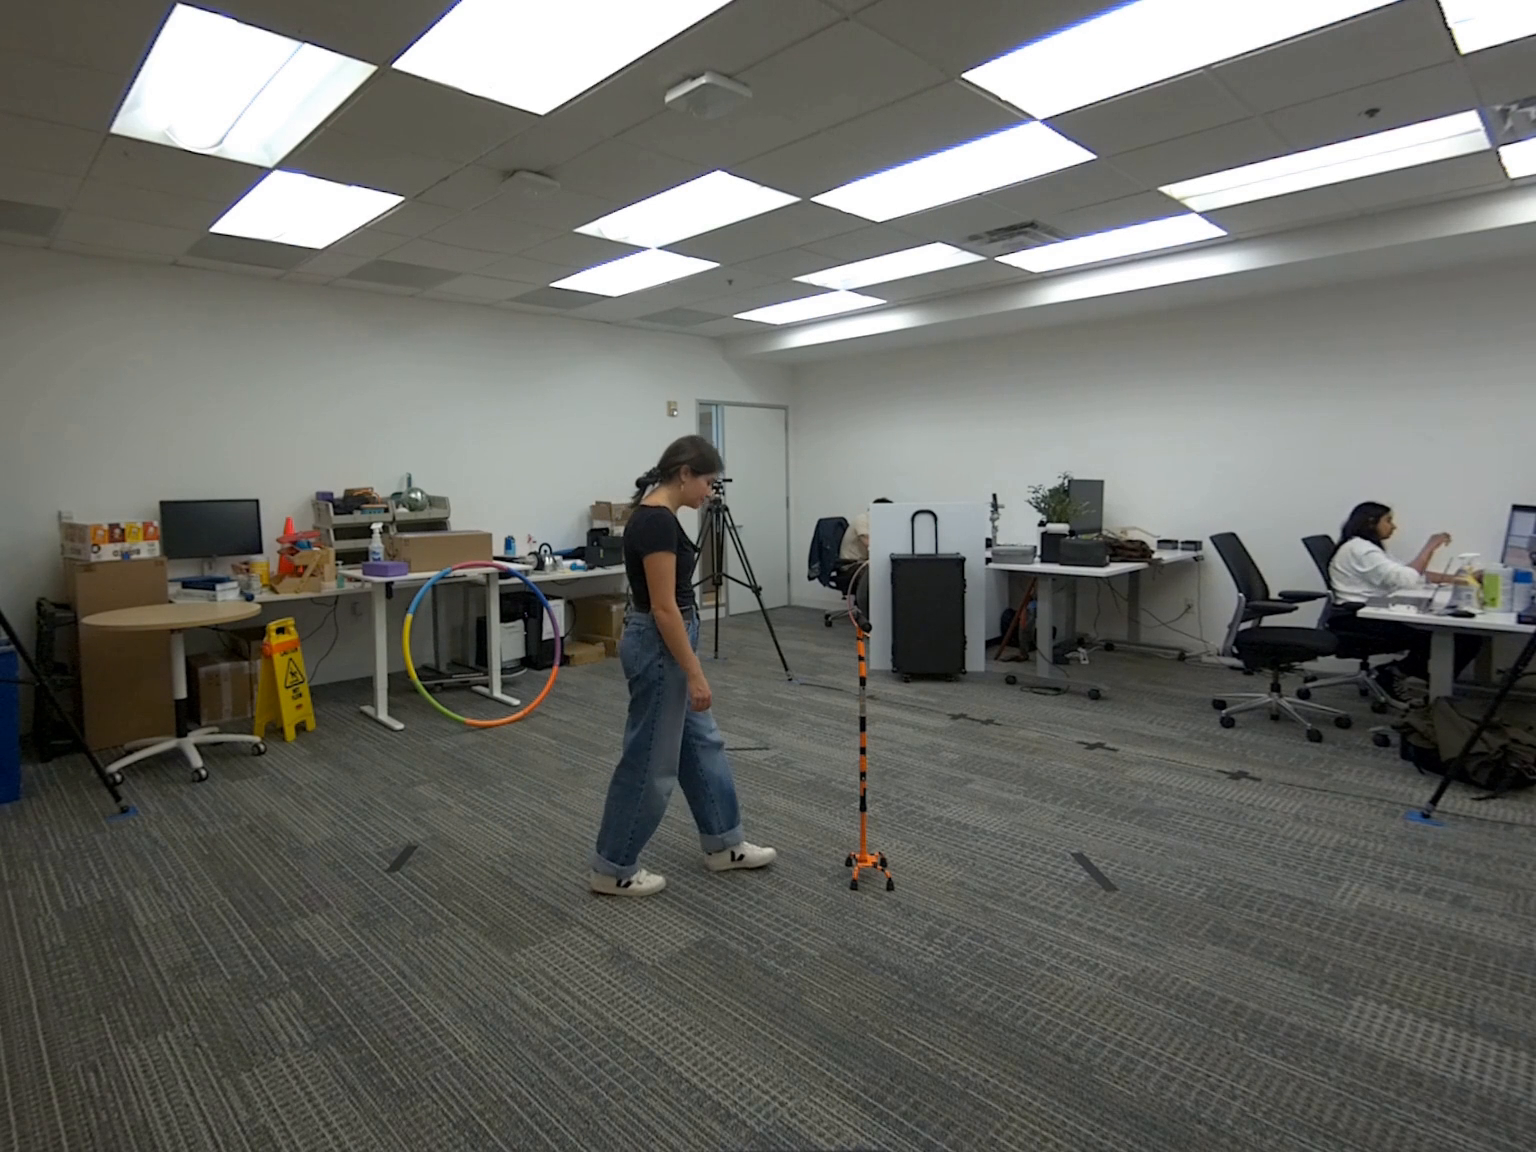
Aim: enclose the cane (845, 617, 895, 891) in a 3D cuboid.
[{"bbox_3d":[0.347,0.597,2.952,0.152,0.905,0.207,-1,3,1],"label":"cane"}]
